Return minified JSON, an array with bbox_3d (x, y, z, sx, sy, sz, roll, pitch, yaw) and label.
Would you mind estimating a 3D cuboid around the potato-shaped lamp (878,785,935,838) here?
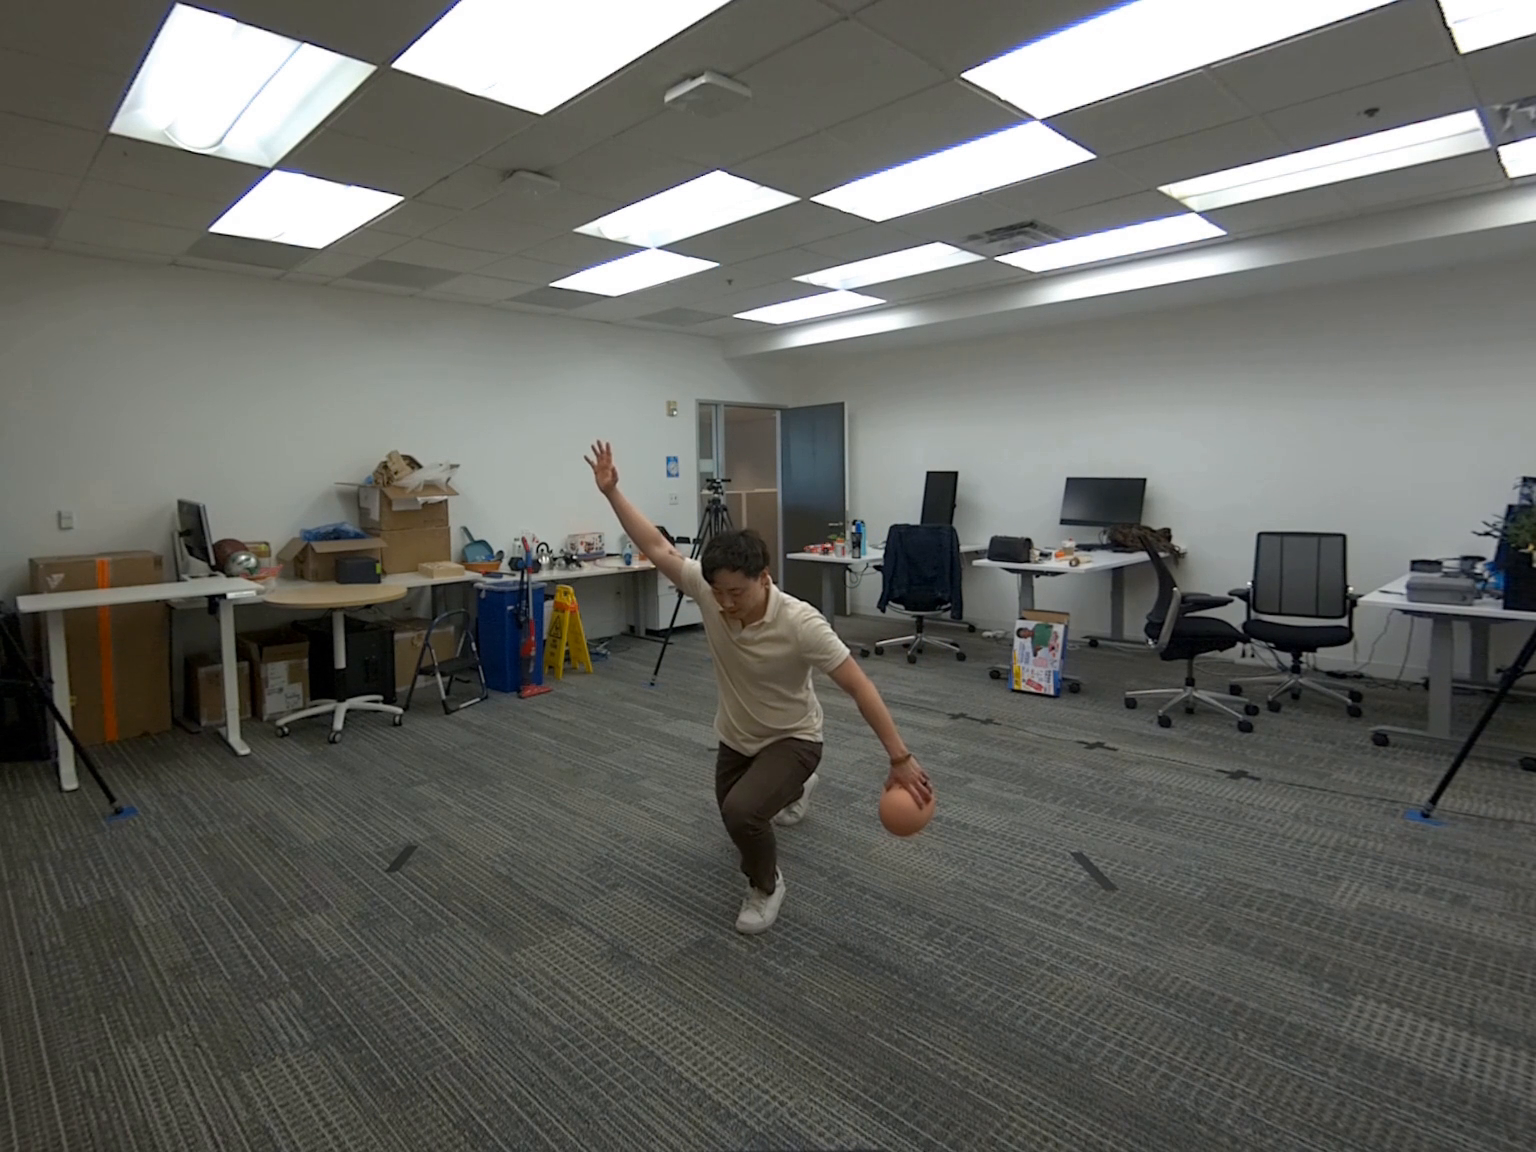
[{"bbox_3d":[0.420,0.700,2.585,0.168,0.171,0.194,13,1,18],"label":"potato-shaped lamp"}]
